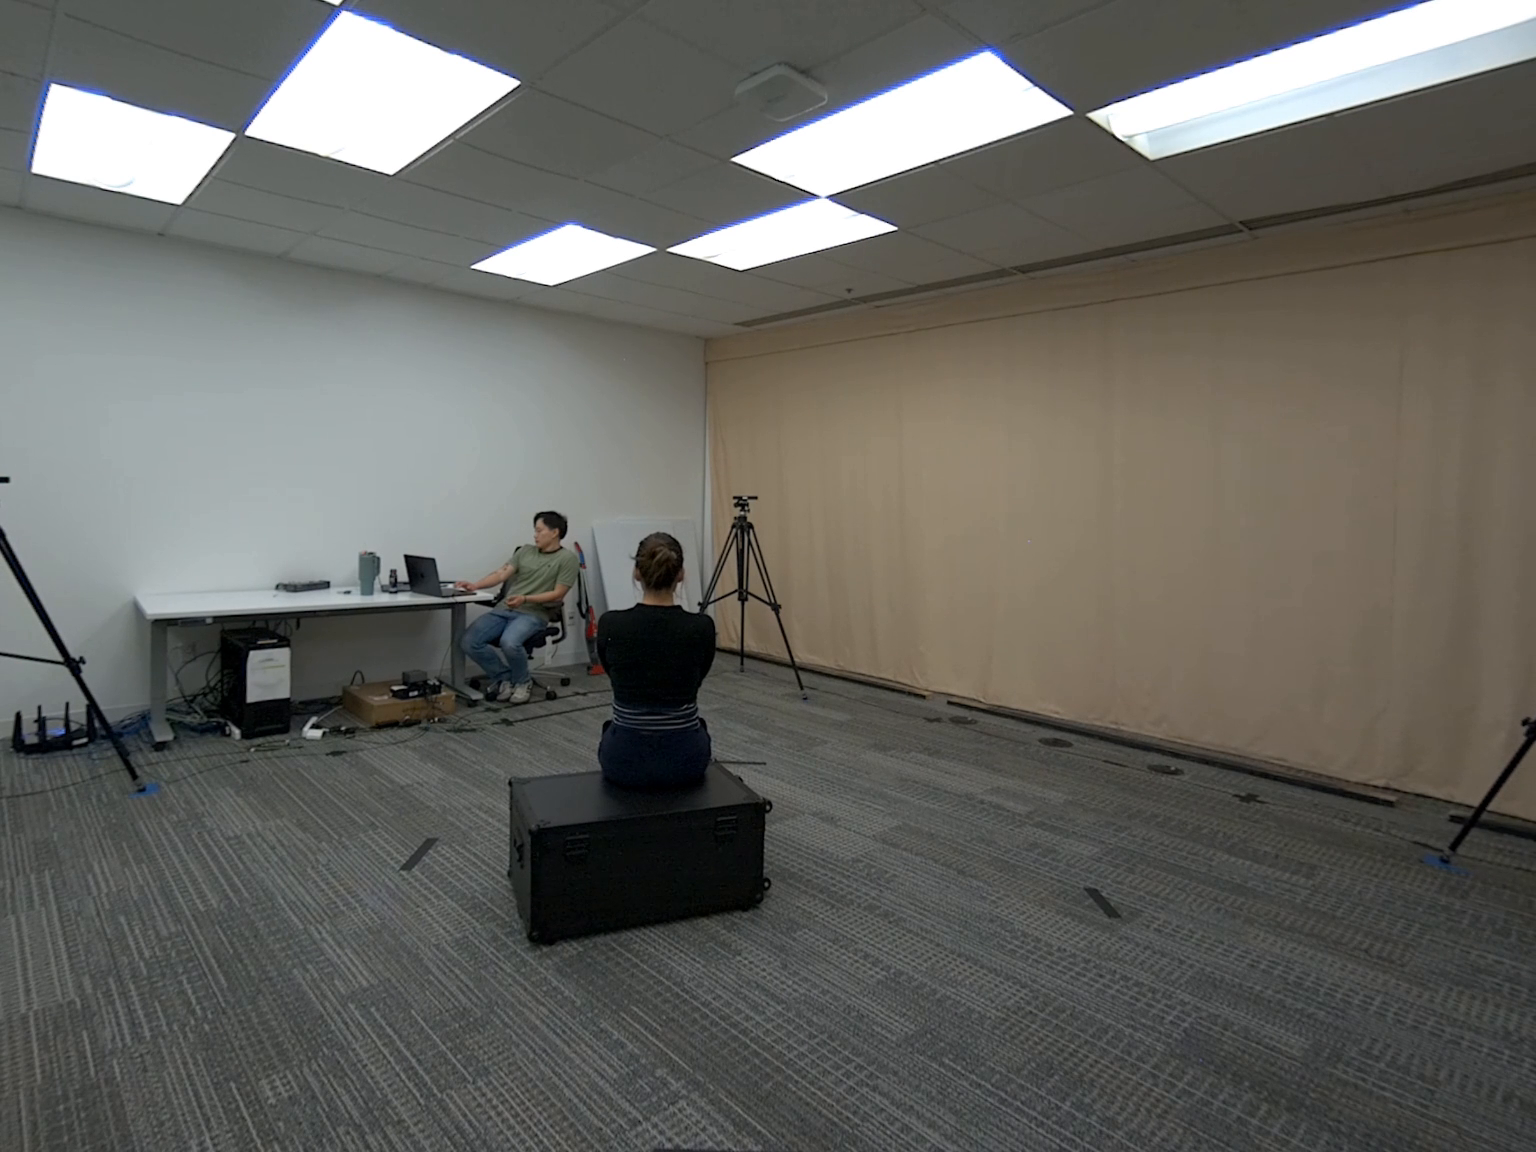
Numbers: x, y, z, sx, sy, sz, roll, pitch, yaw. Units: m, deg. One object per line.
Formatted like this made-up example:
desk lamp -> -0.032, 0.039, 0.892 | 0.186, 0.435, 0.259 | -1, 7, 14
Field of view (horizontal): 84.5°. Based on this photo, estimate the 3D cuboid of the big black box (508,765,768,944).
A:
big black box -> -0.497, 0.924, 2.898 | 0.847, 0.395, 0.532 | 0, 5, -24
